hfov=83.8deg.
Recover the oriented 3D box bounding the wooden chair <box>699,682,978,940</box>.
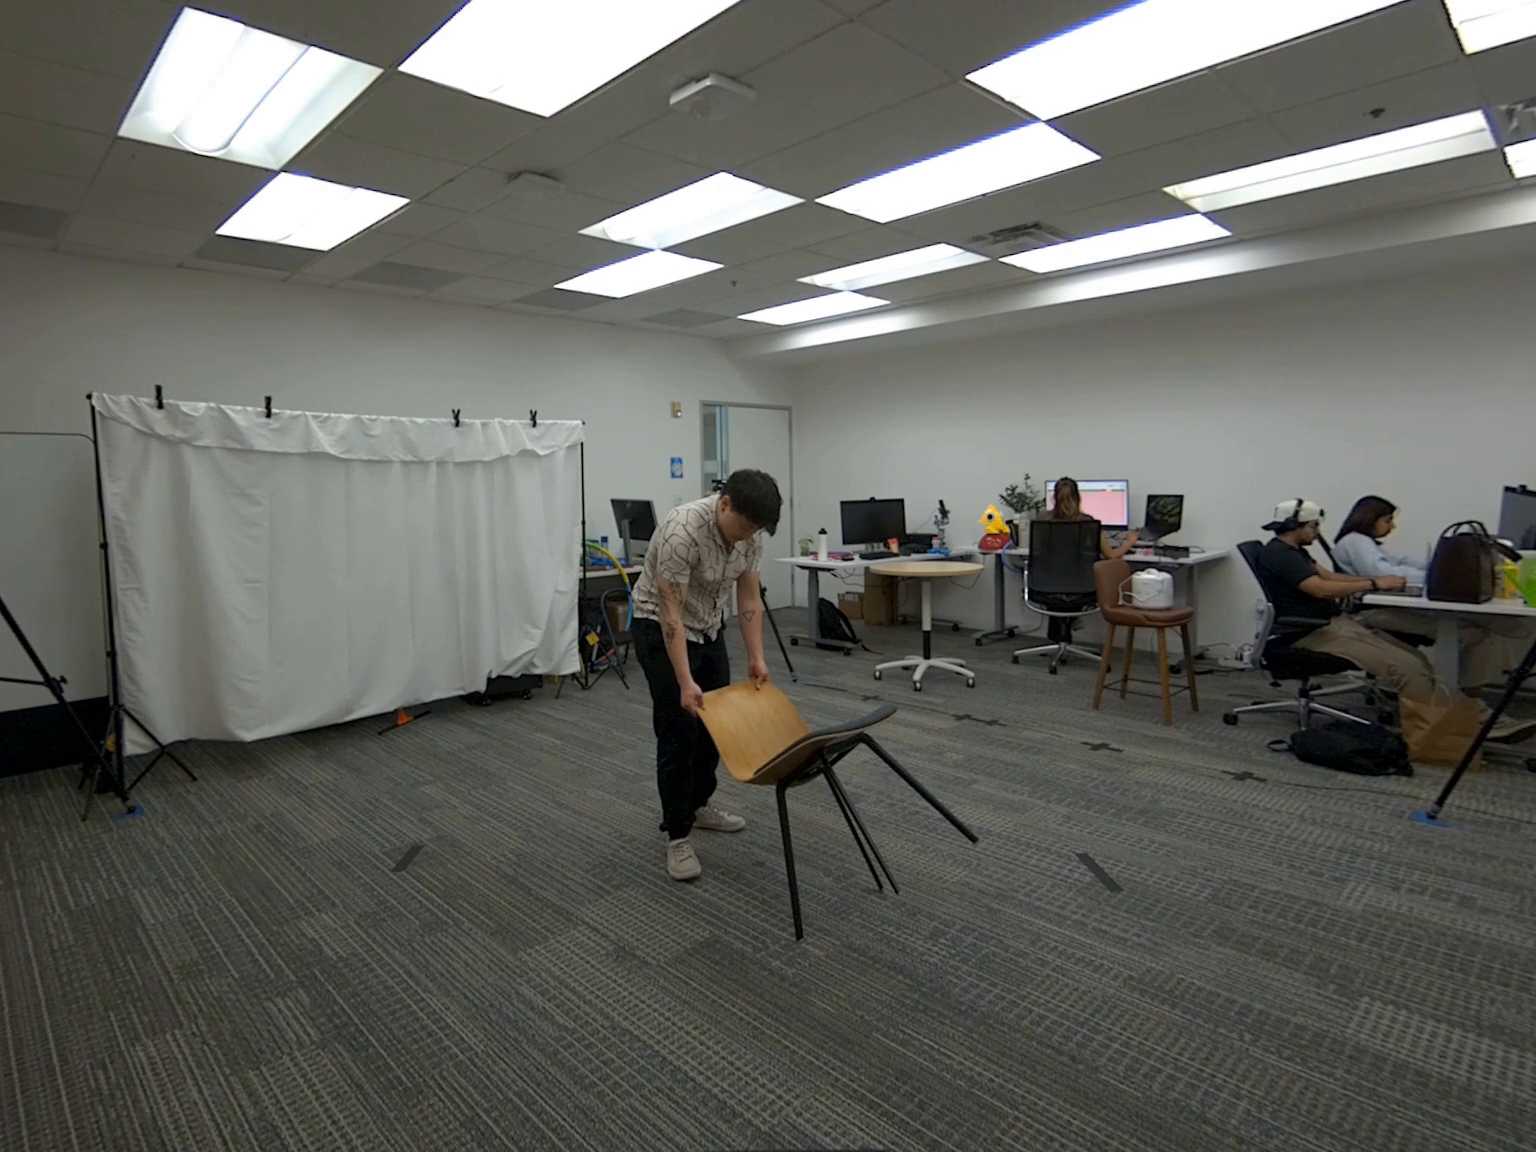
[{"bbox_3d":[0.178,0.601,2.754,0.465,0.903,0.522,-6,-35,-45],"label":"wooden chair"}]
